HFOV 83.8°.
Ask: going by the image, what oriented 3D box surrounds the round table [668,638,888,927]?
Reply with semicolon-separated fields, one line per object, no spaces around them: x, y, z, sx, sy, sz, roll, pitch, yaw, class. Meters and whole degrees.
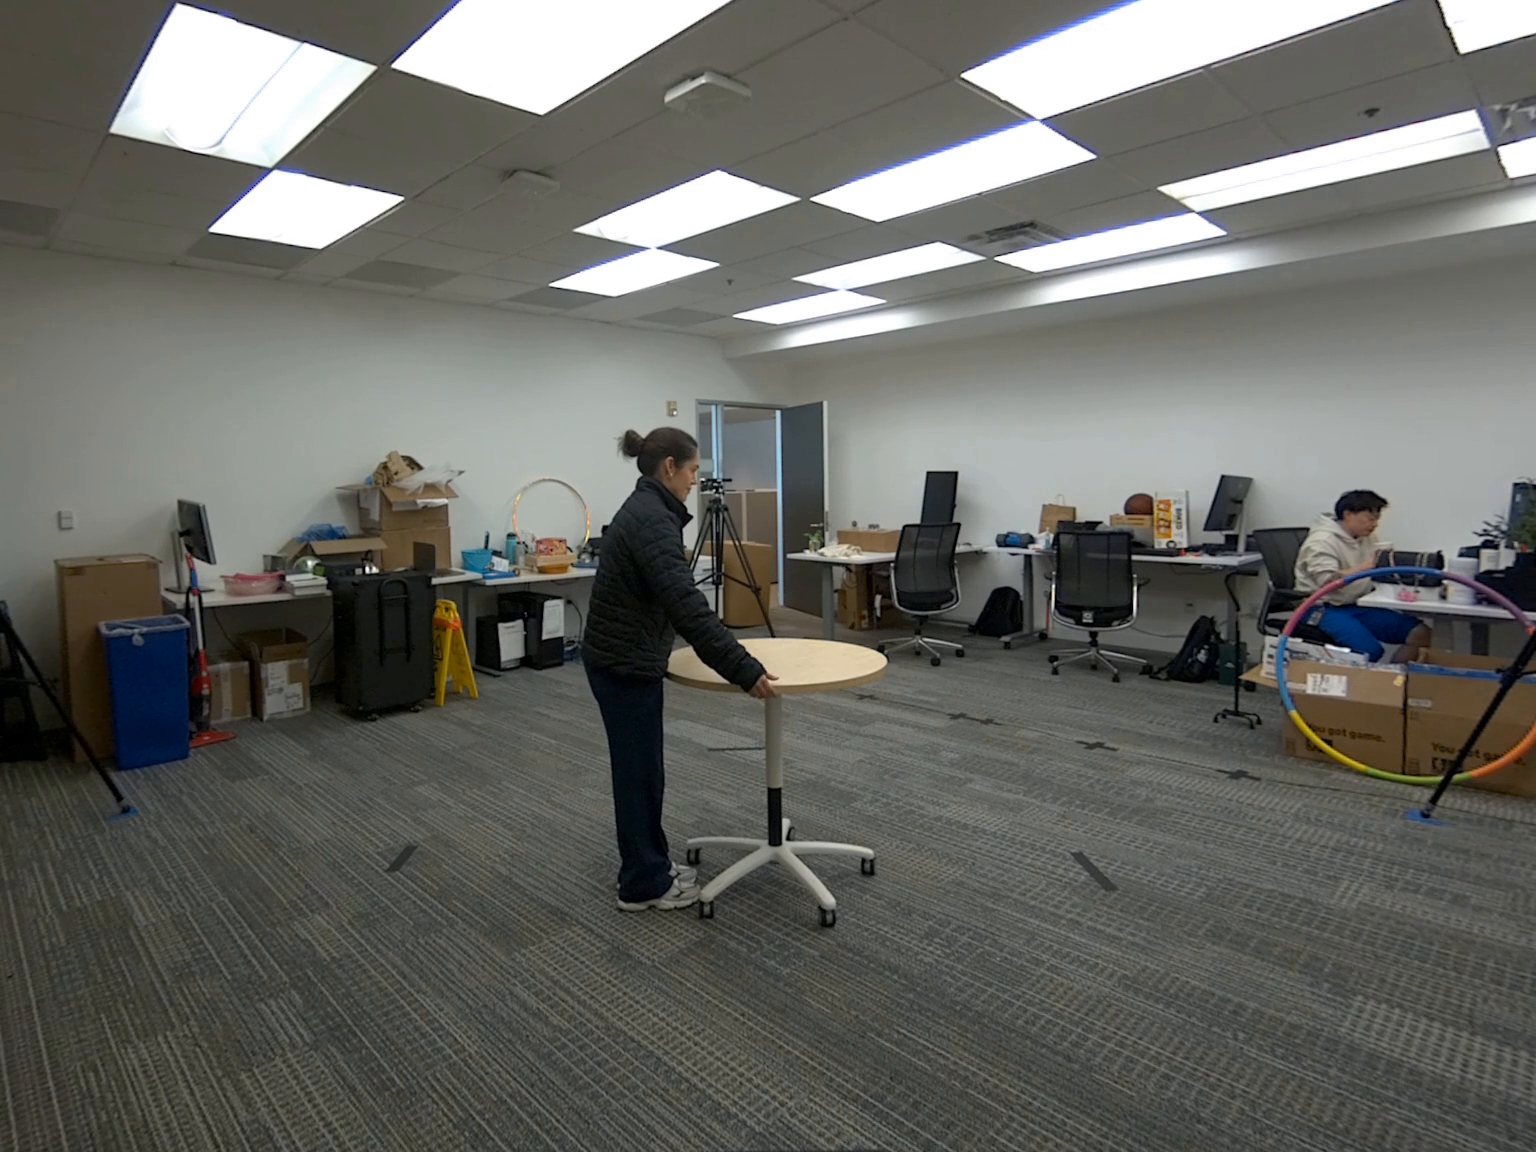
0.012;0.667;2.929;0.784;0.783;0.789;-1;5;-2;round table
